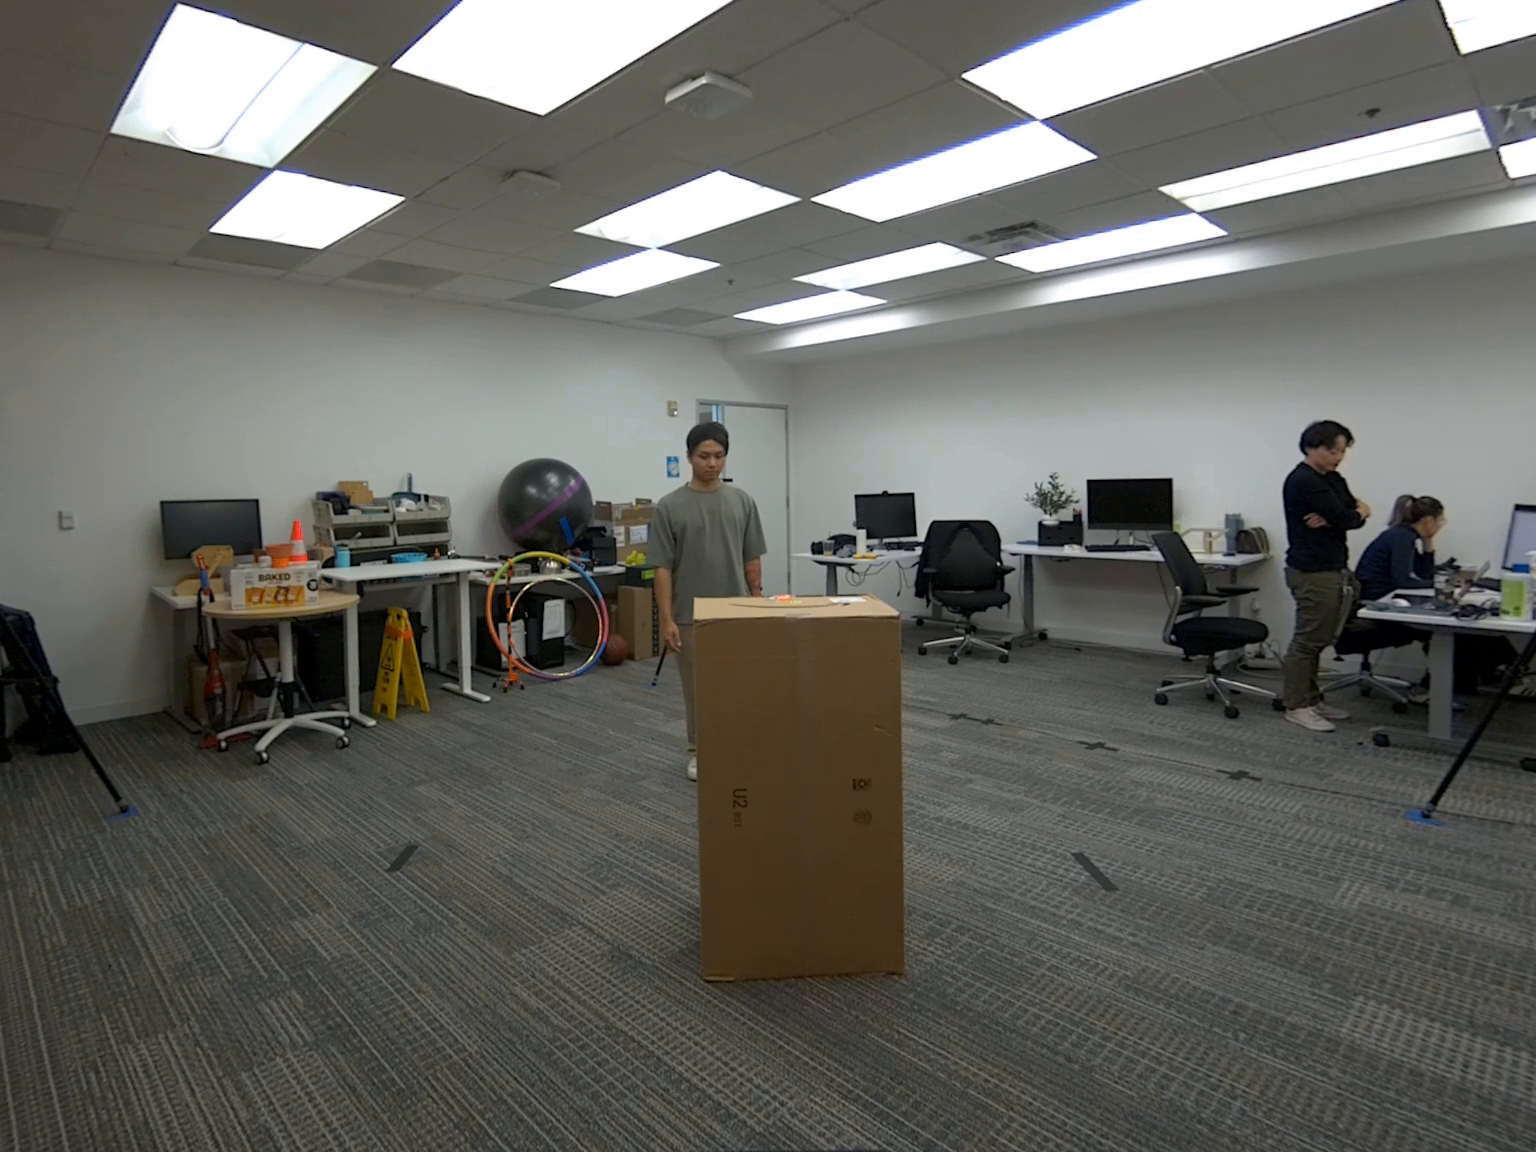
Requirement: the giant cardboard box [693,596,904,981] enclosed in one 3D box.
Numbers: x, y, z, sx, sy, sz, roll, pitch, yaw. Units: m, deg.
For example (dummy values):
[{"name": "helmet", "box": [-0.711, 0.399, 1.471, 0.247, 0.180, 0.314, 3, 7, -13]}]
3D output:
[{"name": "giant cardboard box", "box": [0.081, 0.596, 2.569, 0.575, 1.022, 0.429, -1, 4, -4]}]
